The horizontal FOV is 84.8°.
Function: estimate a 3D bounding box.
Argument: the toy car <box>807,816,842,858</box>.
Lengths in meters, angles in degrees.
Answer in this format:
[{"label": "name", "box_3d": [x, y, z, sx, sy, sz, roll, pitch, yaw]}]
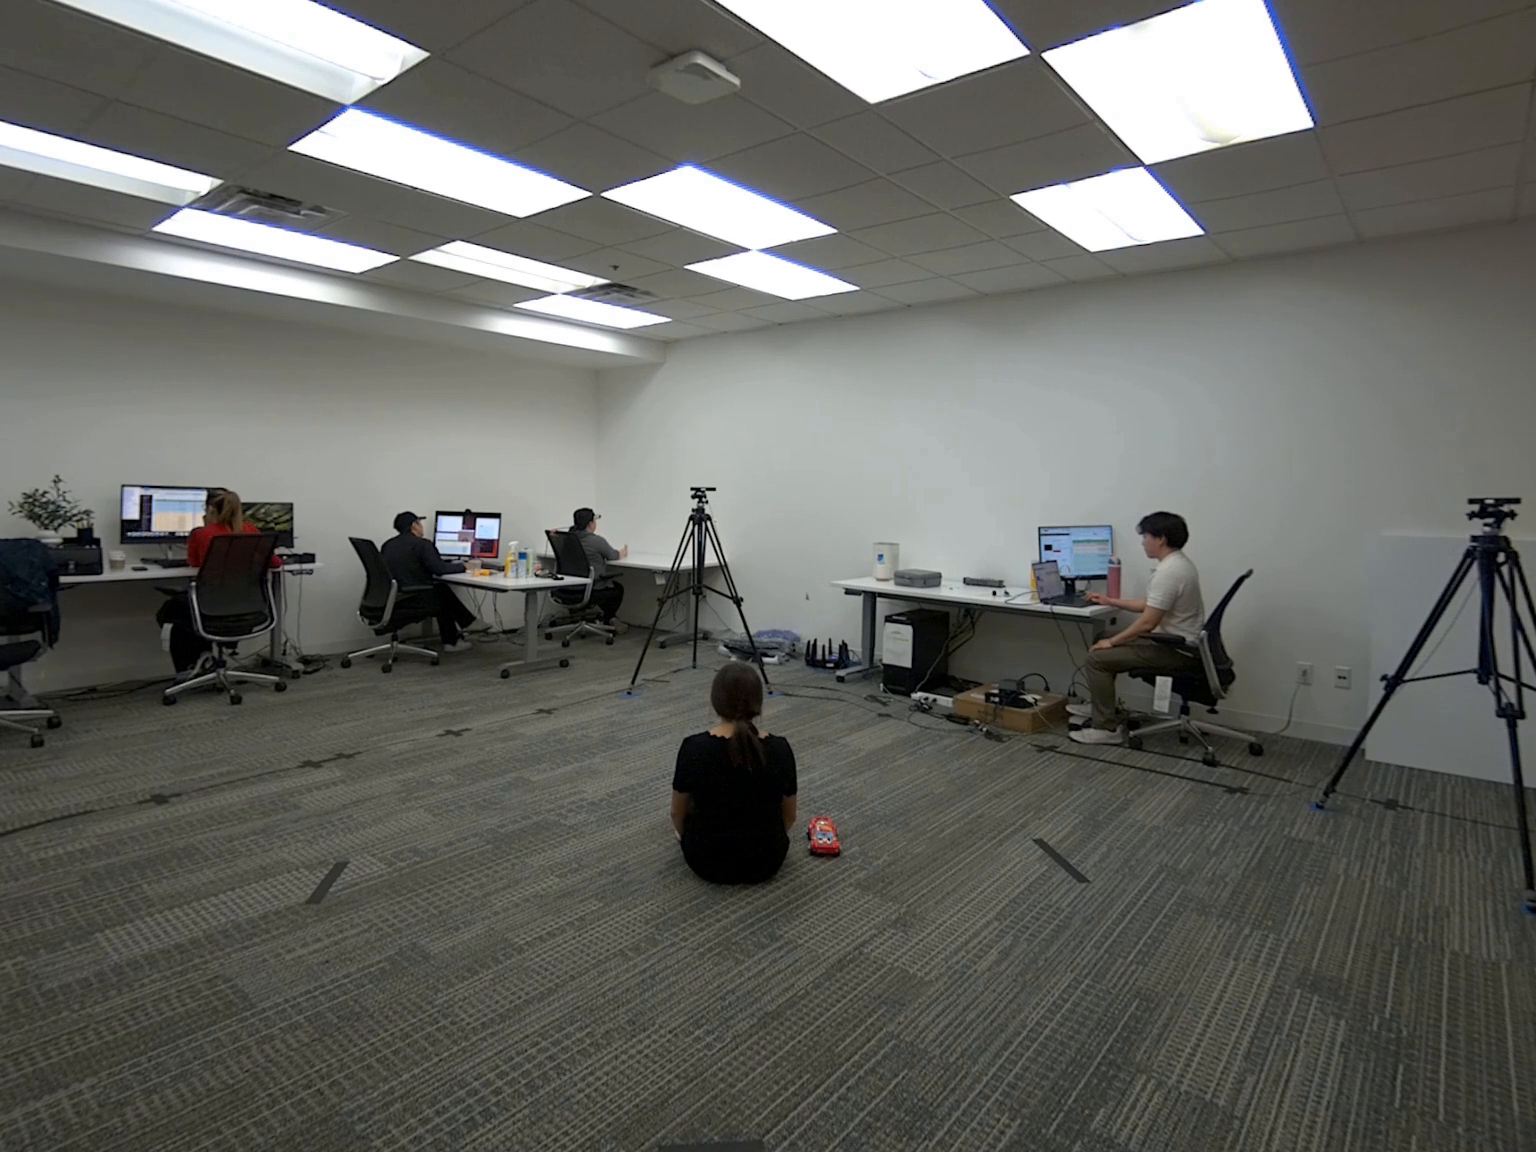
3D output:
[{"label": "toy car", "box_3d": [0.207, 1.023, 3.351, 0.130, 0.082, 0.258, 0, 17, 0]}]
